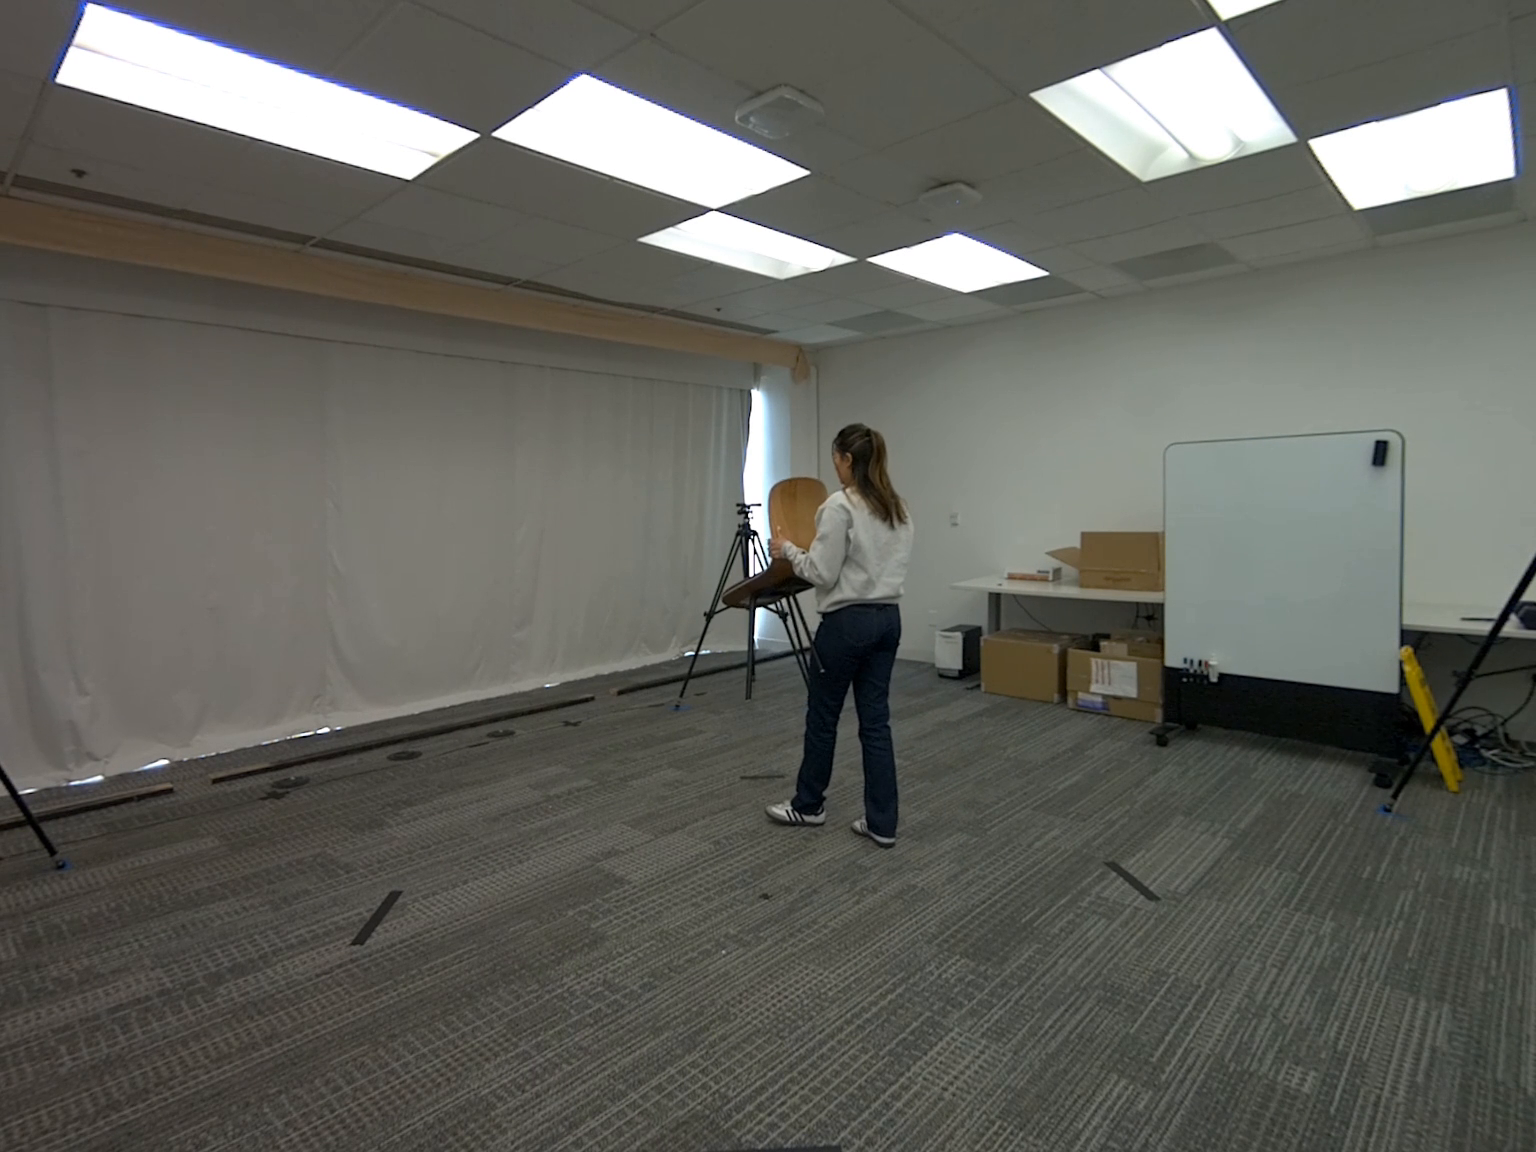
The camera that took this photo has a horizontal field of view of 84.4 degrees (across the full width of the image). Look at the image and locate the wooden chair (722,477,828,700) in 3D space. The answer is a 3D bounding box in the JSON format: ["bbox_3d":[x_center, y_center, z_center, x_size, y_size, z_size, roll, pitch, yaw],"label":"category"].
[{"bbox_3d":[0.093,0.065,3.759,0.463,0.887,0.534,1,-19,-45],"label":"wooden chair"}]
